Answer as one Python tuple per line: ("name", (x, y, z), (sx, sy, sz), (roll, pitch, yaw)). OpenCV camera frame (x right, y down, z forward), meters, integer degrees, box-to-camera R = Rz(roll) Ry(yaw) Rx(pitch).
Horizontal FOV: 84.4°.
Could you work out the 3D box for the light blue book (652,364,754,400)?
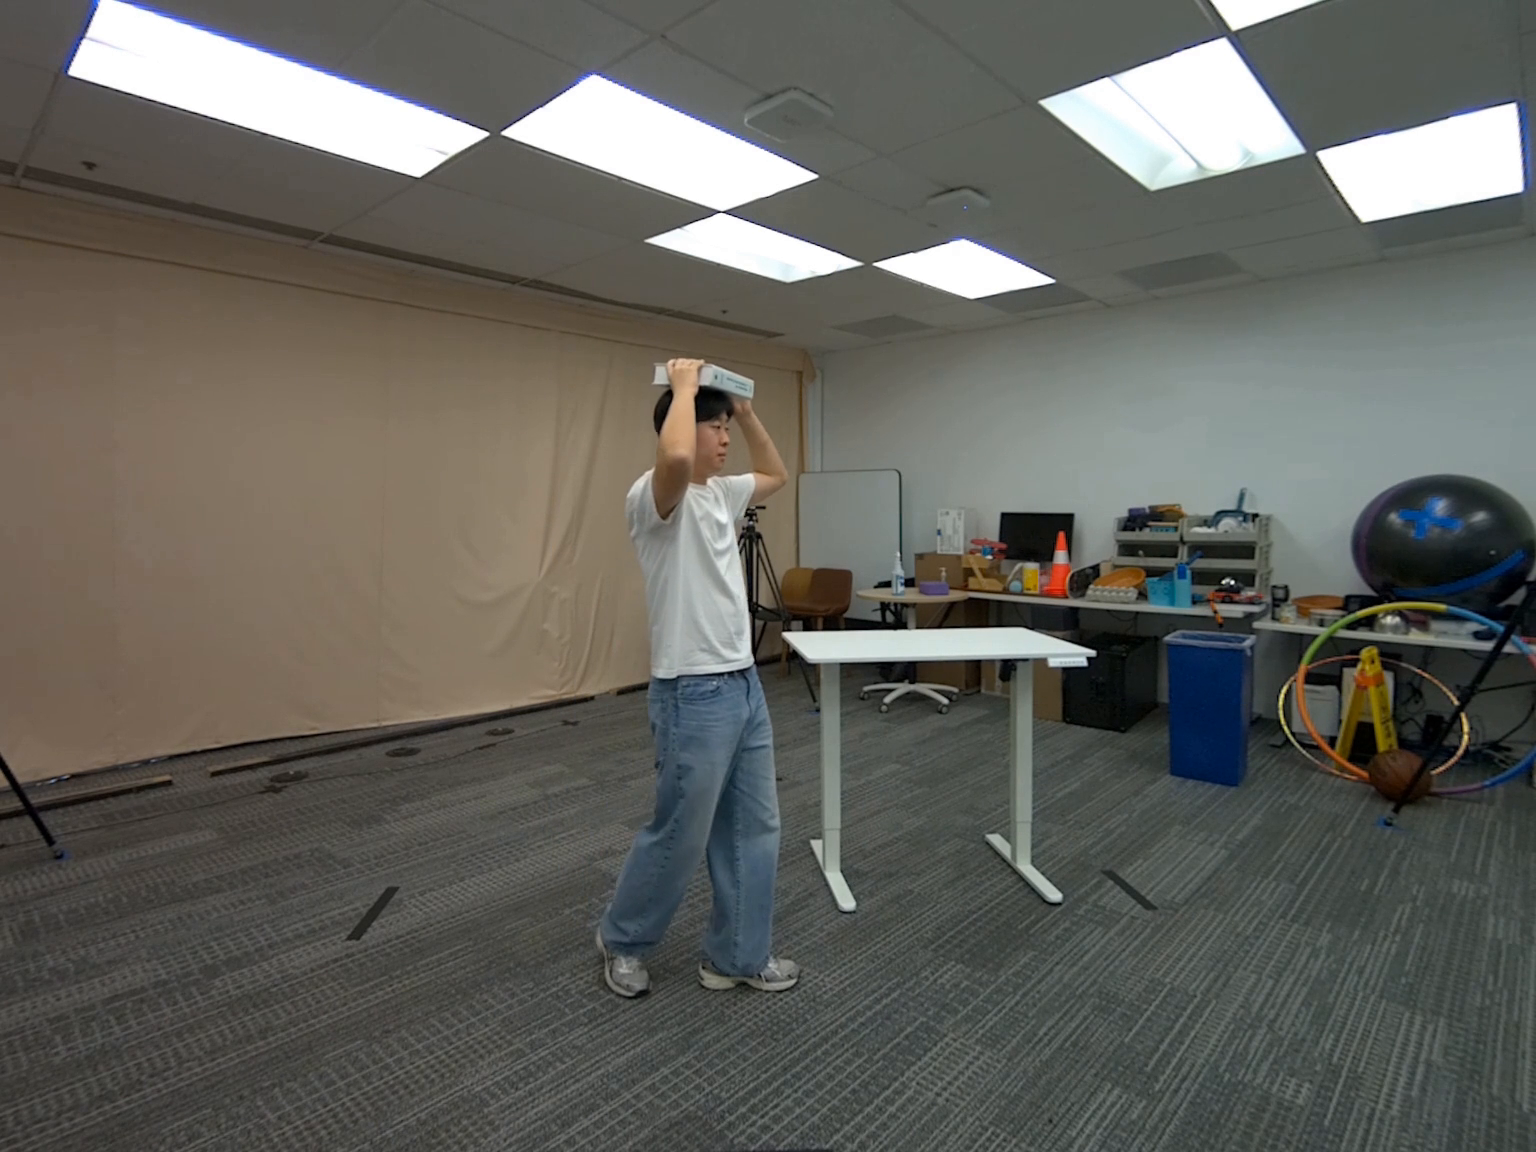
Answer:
("light blue book", (-0.182, -0.551, 2.395), (0.196, 0.059, 0.255), (9, 6, 24))
